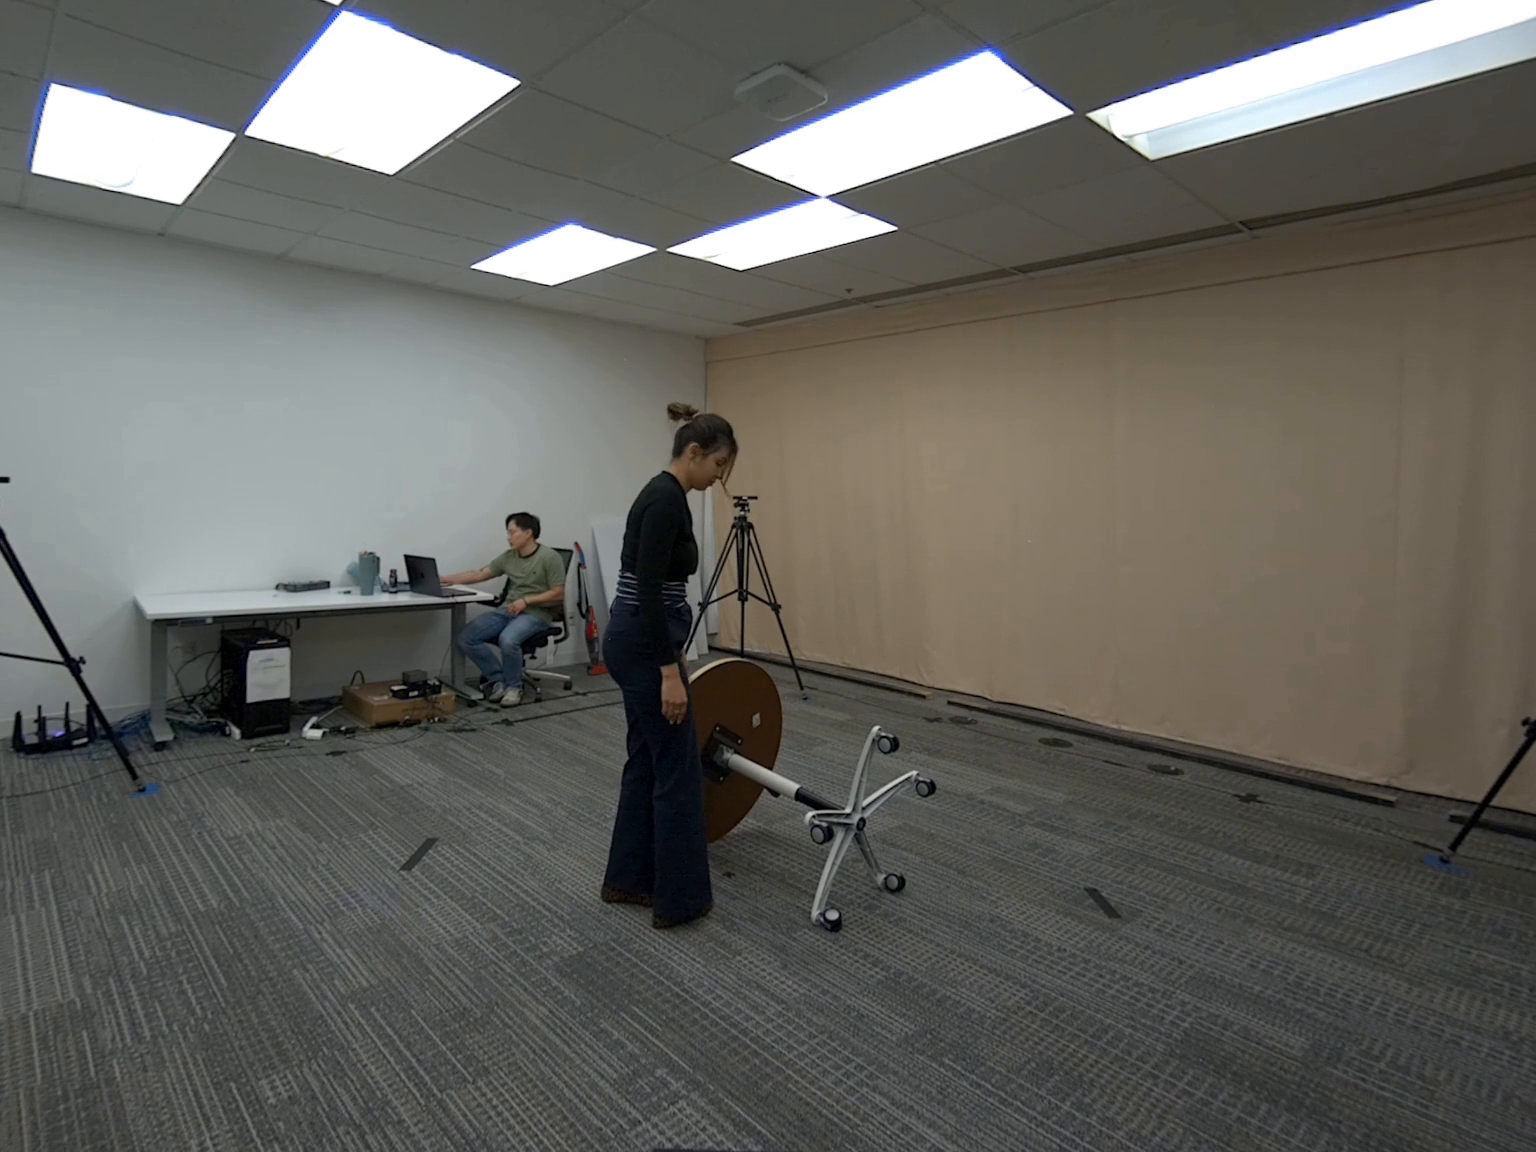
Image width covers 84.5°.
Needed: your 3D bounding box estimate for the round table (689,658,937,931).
[{"bbox_3d":[0.074,0.784,3.065,0.817,0.759,0.747,15,12,41],"label":"round table"}]
